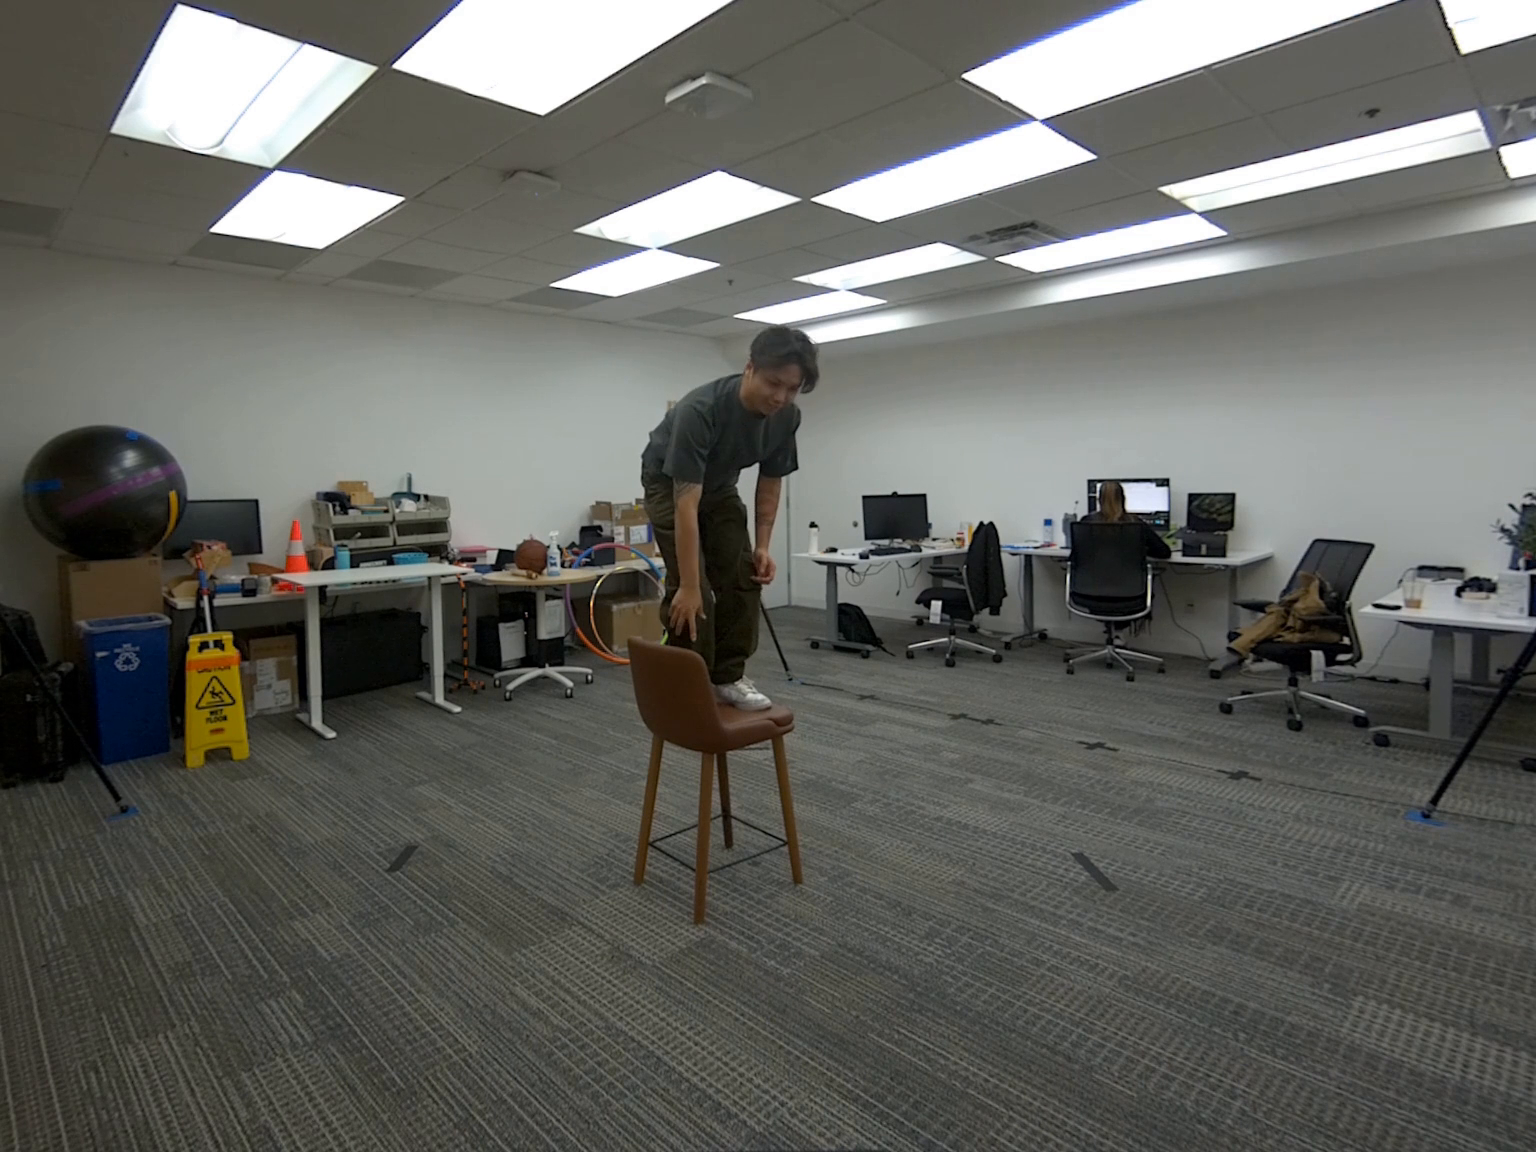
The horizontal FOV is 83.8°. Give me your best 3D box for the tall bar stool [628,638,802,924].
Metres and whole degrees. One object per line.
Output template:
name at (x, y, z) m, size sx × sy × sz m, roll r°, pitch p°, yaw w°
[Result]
tall bar stool at (-0.187, 0.630, 2.936) m, size 0.456 × 0.885 × 0.470 m, roll -7°, pitch 7°, yaw -40°
